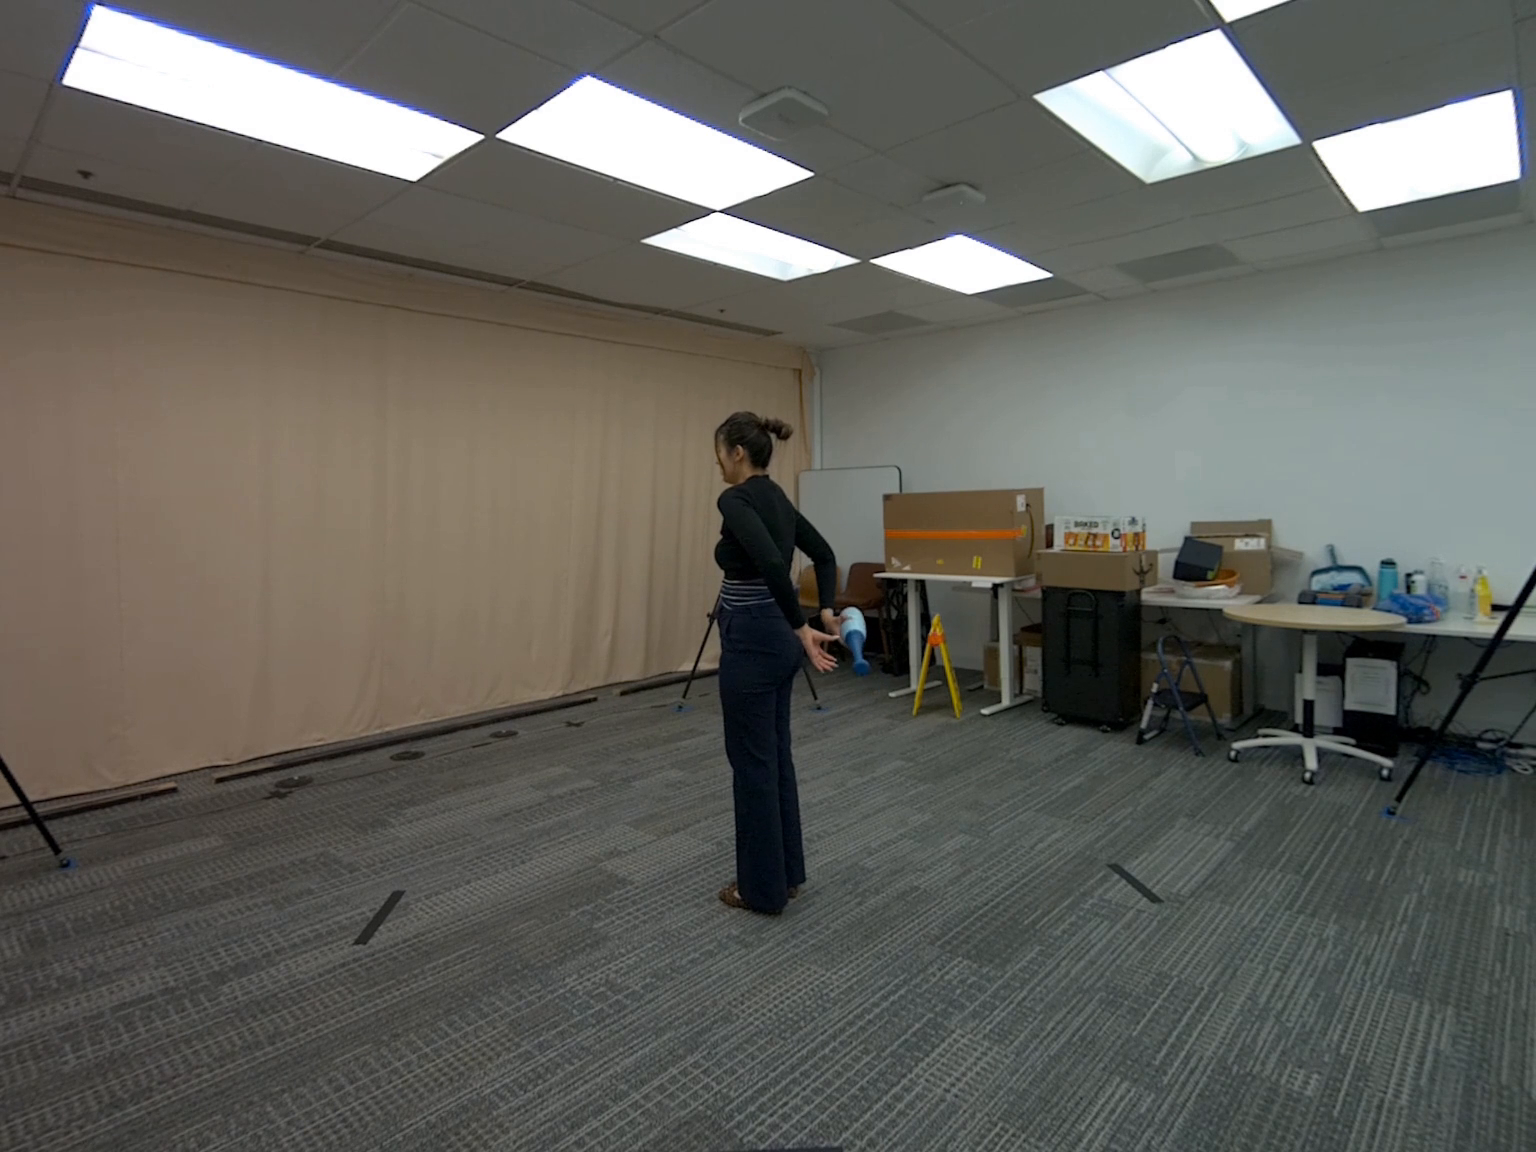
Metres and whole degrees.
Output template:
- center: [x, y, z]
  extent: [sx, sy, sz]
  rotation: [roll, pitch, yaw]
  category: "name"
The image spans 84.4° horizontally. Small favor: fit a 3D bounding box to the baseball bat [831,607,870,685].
- center: [0.276, 0.218, 2.801]
  extent: [0.090, 0.088, 0.541]
  rotation: [0, 14, 9]
  category: "baseball bat"
